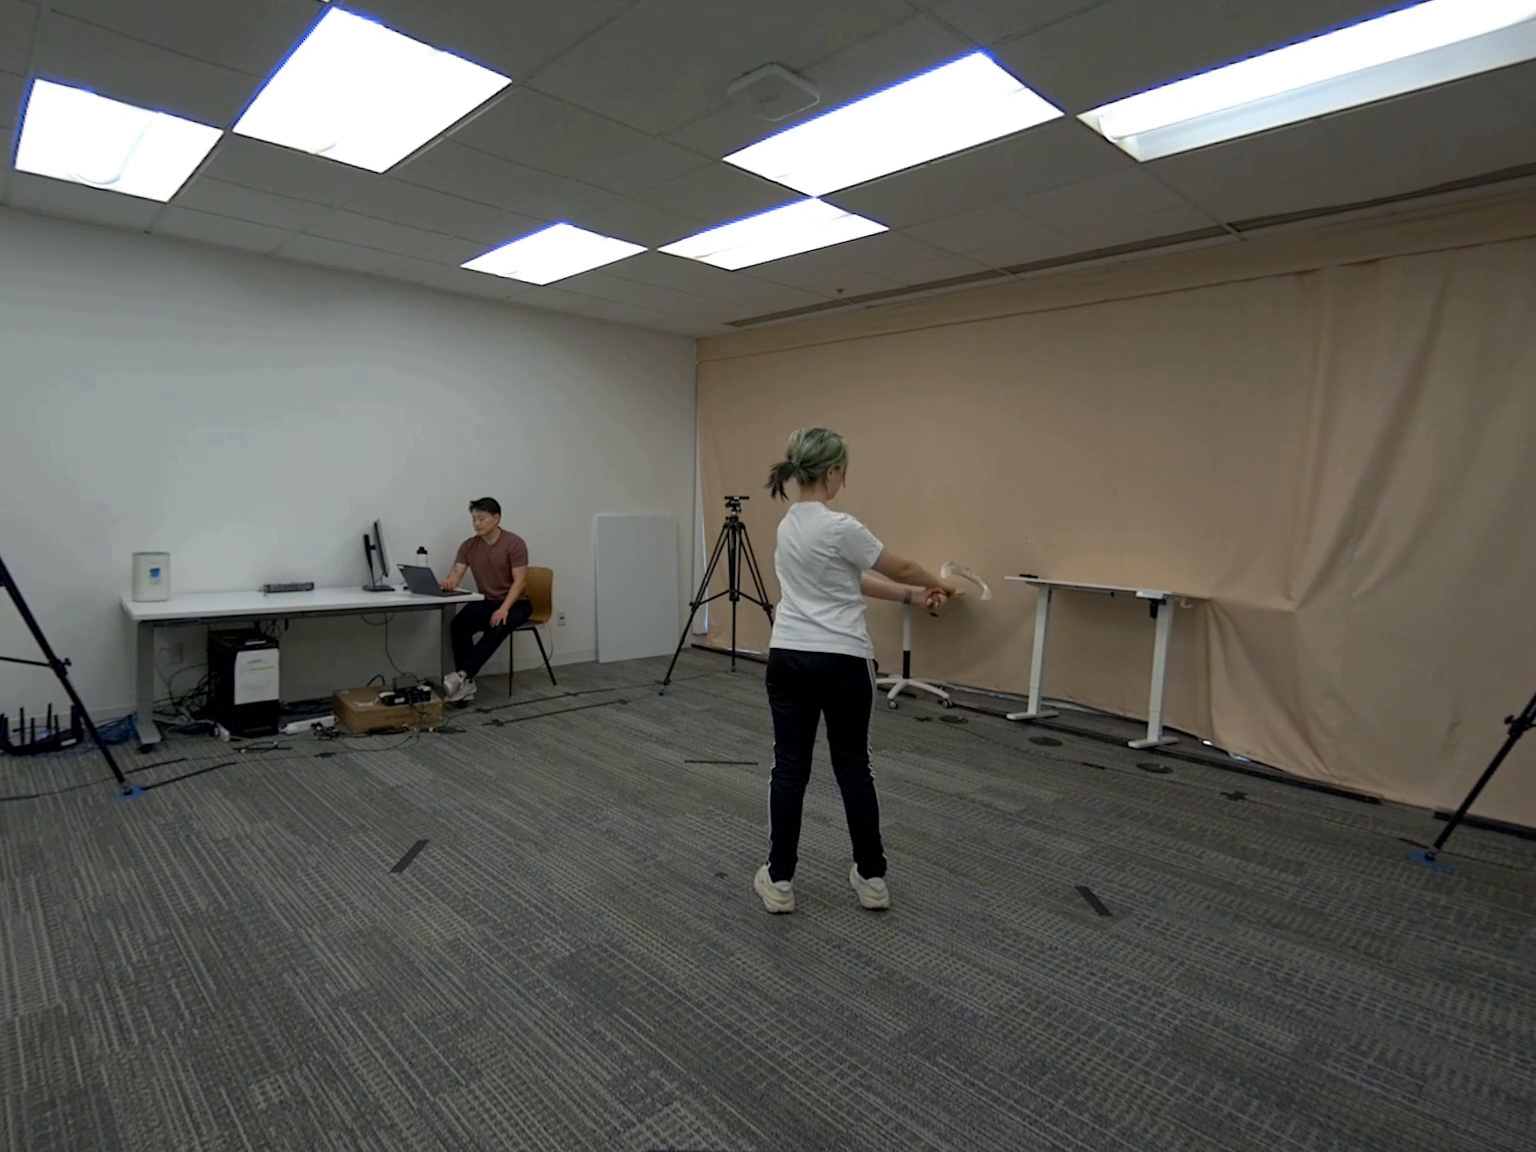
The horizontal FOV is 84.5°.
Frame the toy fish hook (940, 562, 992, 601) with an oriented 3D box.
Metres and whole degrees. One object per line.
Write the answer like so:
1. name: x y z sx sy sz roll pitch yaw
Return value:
1. toy fish hook: 0.713 0.061 3.171 0.228 0.048 0.504 29 29 12
